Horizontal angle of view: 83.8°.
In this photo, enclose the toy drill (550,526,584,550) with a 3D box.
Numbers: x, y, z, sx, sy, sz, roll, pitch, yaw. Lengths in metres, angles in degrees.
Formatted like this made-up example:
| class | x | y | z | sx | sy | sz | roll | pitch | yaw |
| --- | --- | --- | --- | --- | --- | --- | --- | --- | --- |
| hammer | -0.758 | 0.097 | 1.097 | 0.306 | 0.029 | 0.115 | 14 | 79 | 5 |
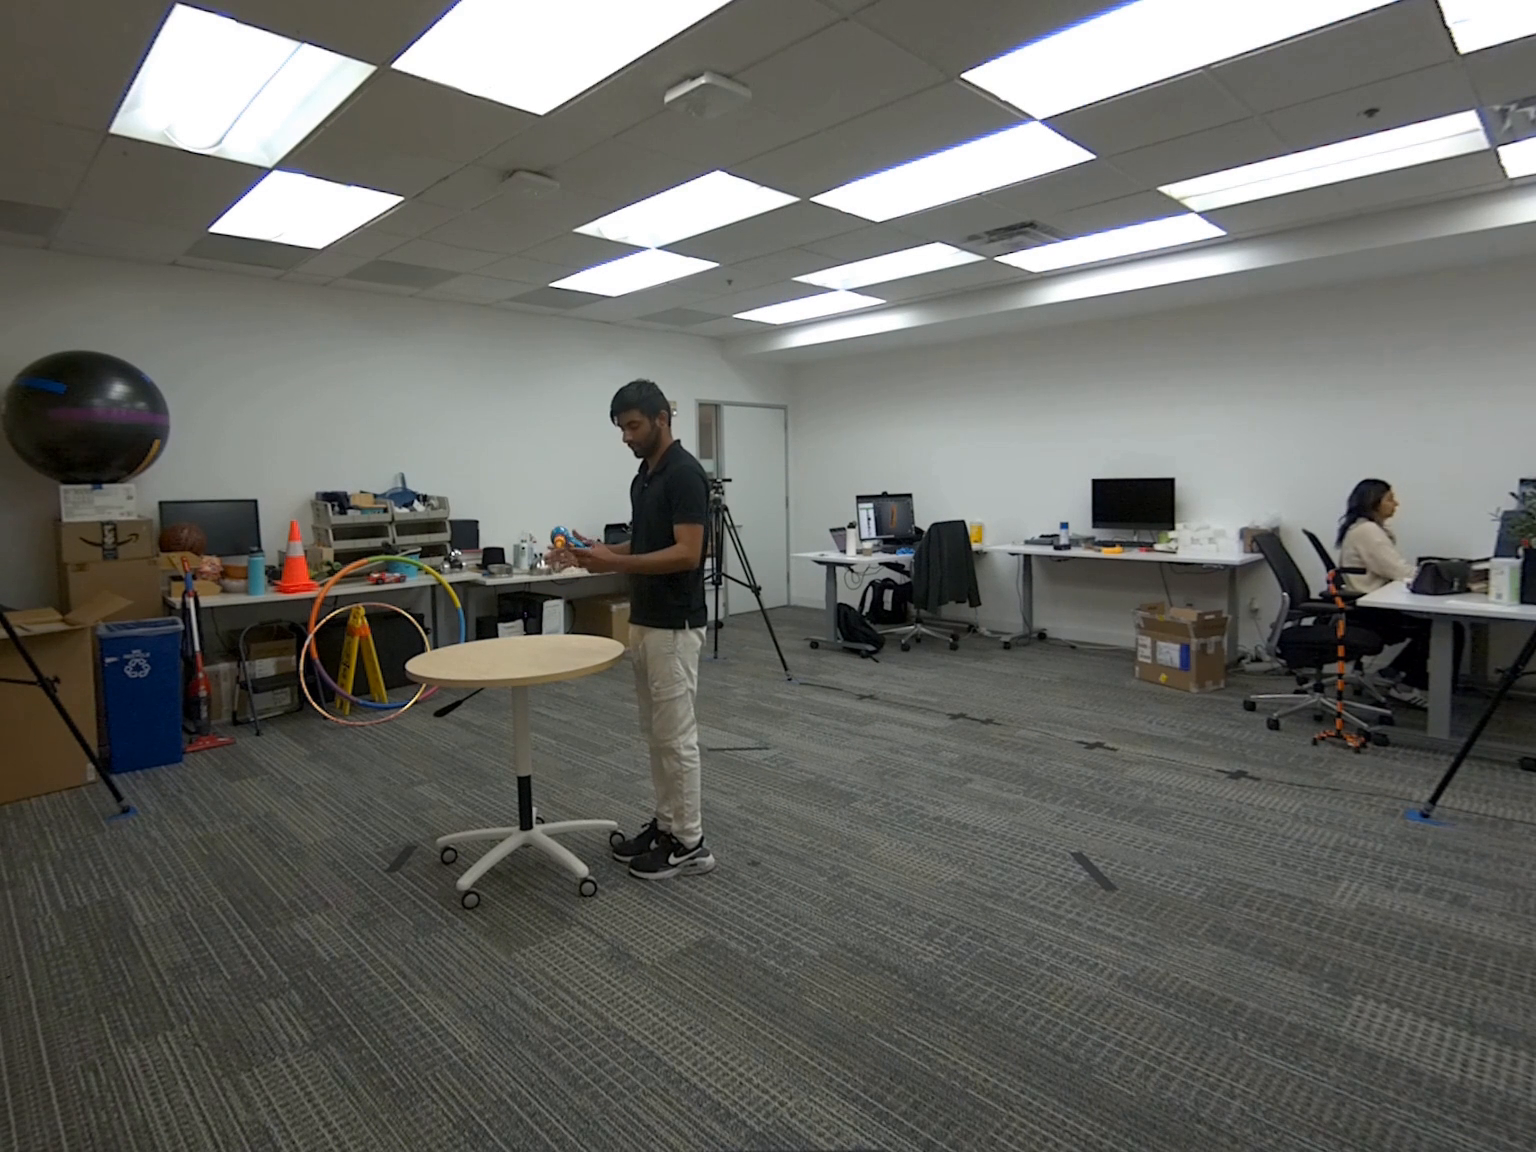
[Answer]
| class | x | y | z | sx | sy | sz | roll | pitch | yaw |
| --- | --- | --- | --- | --- | --- | --- | --- | --- | --- |
| toy drill | -0.630 | -0.117 | 2.766 | 0.061 | 0.143 | 0.173 | -43 | 17 | 3 |
